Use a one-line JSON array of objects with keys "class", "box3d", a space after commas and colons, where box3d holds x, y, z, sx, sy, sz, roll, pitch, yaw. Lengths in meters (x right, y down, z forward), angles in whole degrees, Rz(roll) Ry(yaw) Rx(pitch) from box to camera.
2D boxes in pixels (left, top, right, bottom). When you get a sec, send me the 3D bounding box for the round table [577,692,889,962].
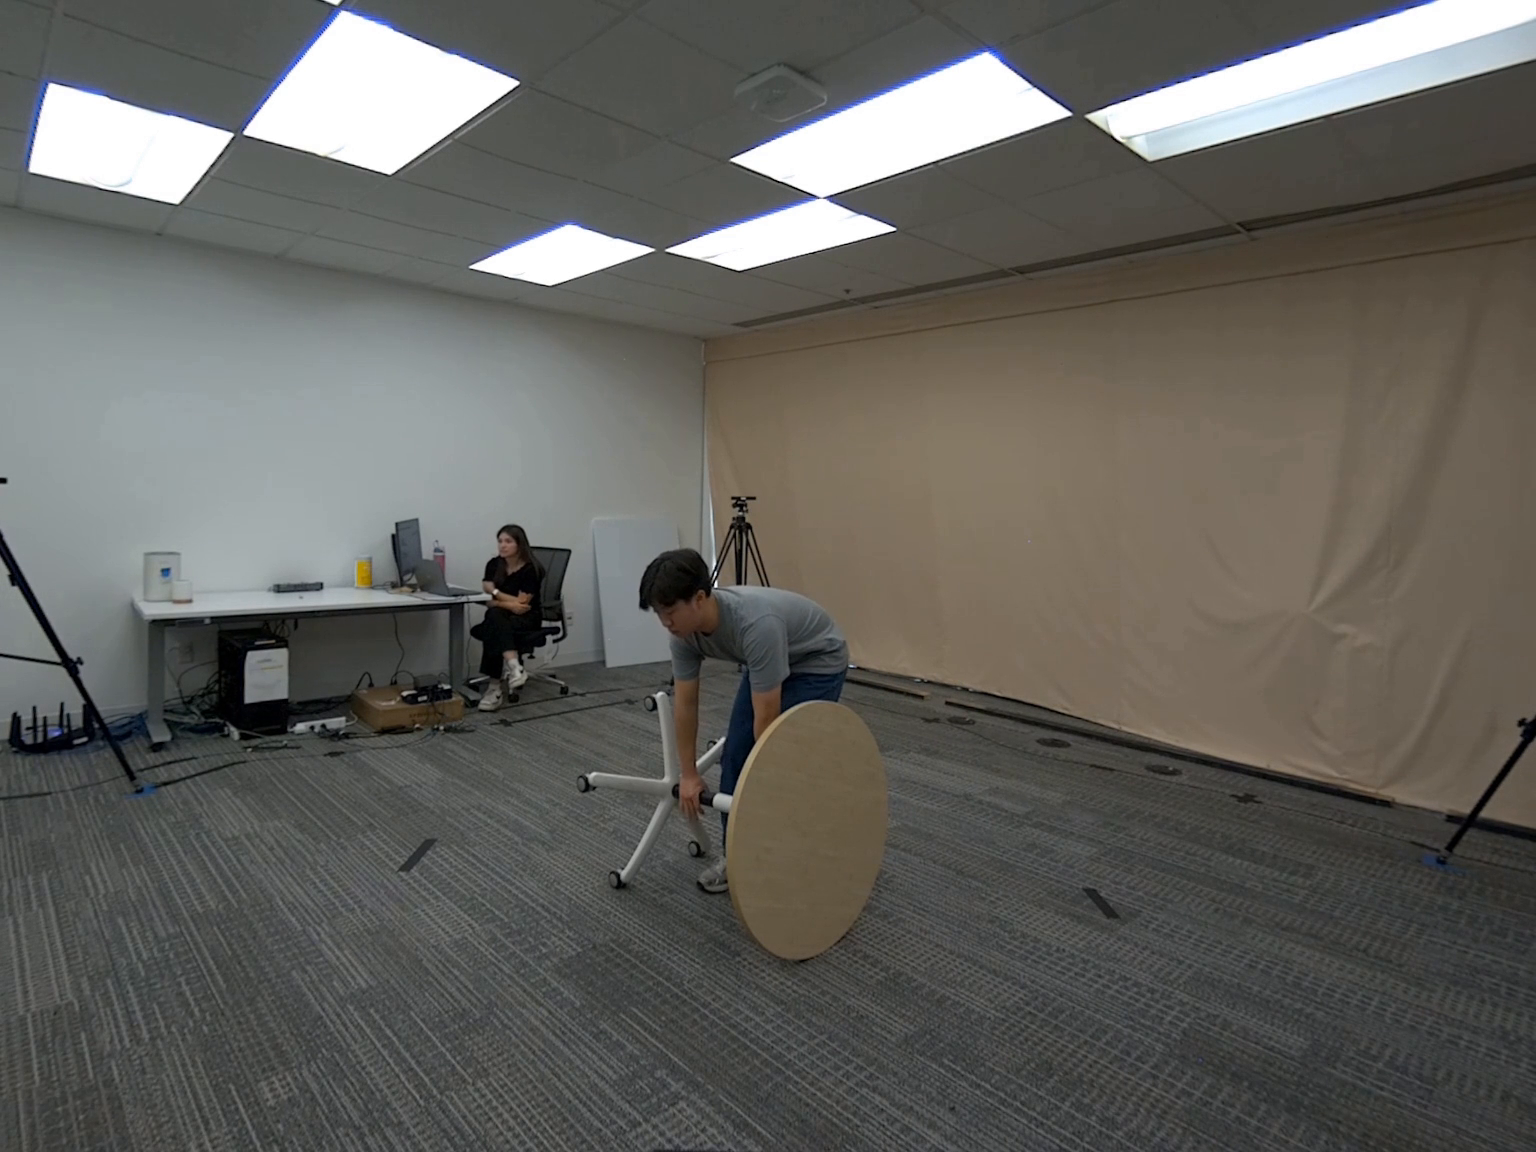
[{"class": "round table", "box3d": [-0.151, 0.787, 2.870, 0.812, 0.764, 0.747, -2, 1, 43]}]
